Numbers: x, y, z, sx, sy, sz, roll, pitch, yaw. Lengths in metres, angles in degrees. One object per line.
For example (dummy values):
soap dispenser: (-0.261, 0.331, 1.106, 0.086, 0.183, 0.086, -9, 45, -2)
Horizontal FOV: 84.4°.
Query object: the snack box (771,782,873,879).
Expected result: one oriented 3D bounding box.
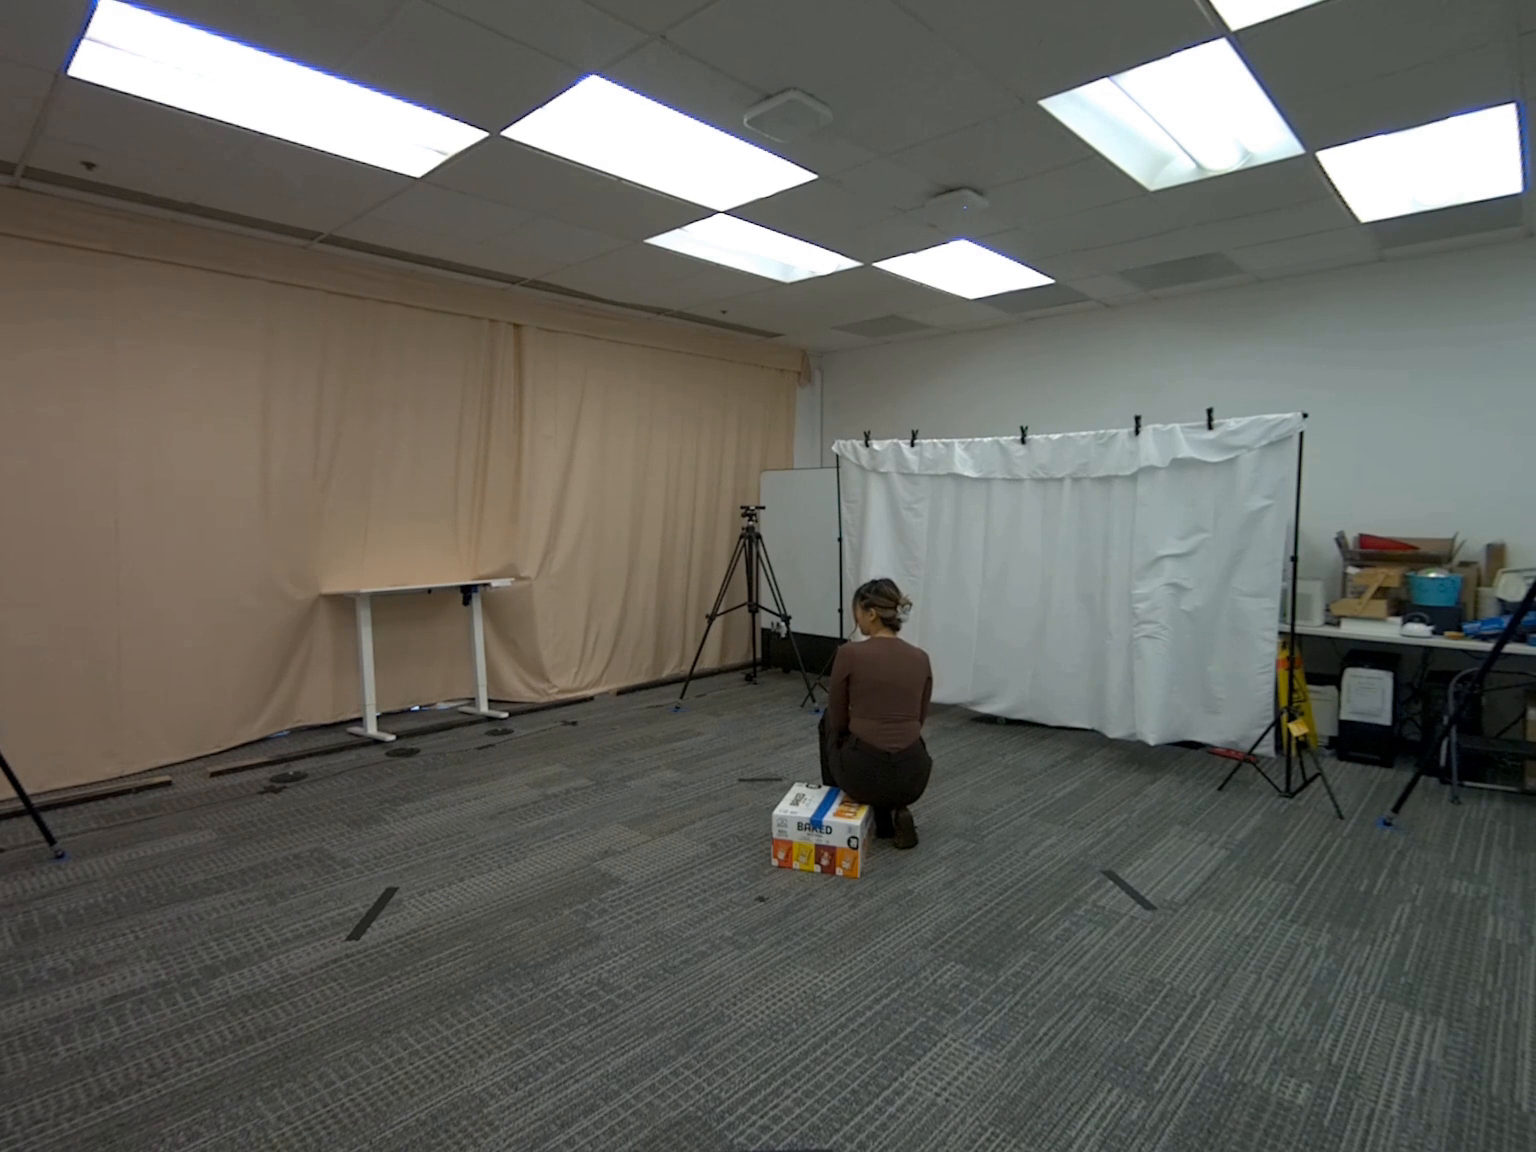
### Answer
snack box: (0.232, 1.010, 3.384, 0.347, 0.205, 0.398, 2, 4, 17)
